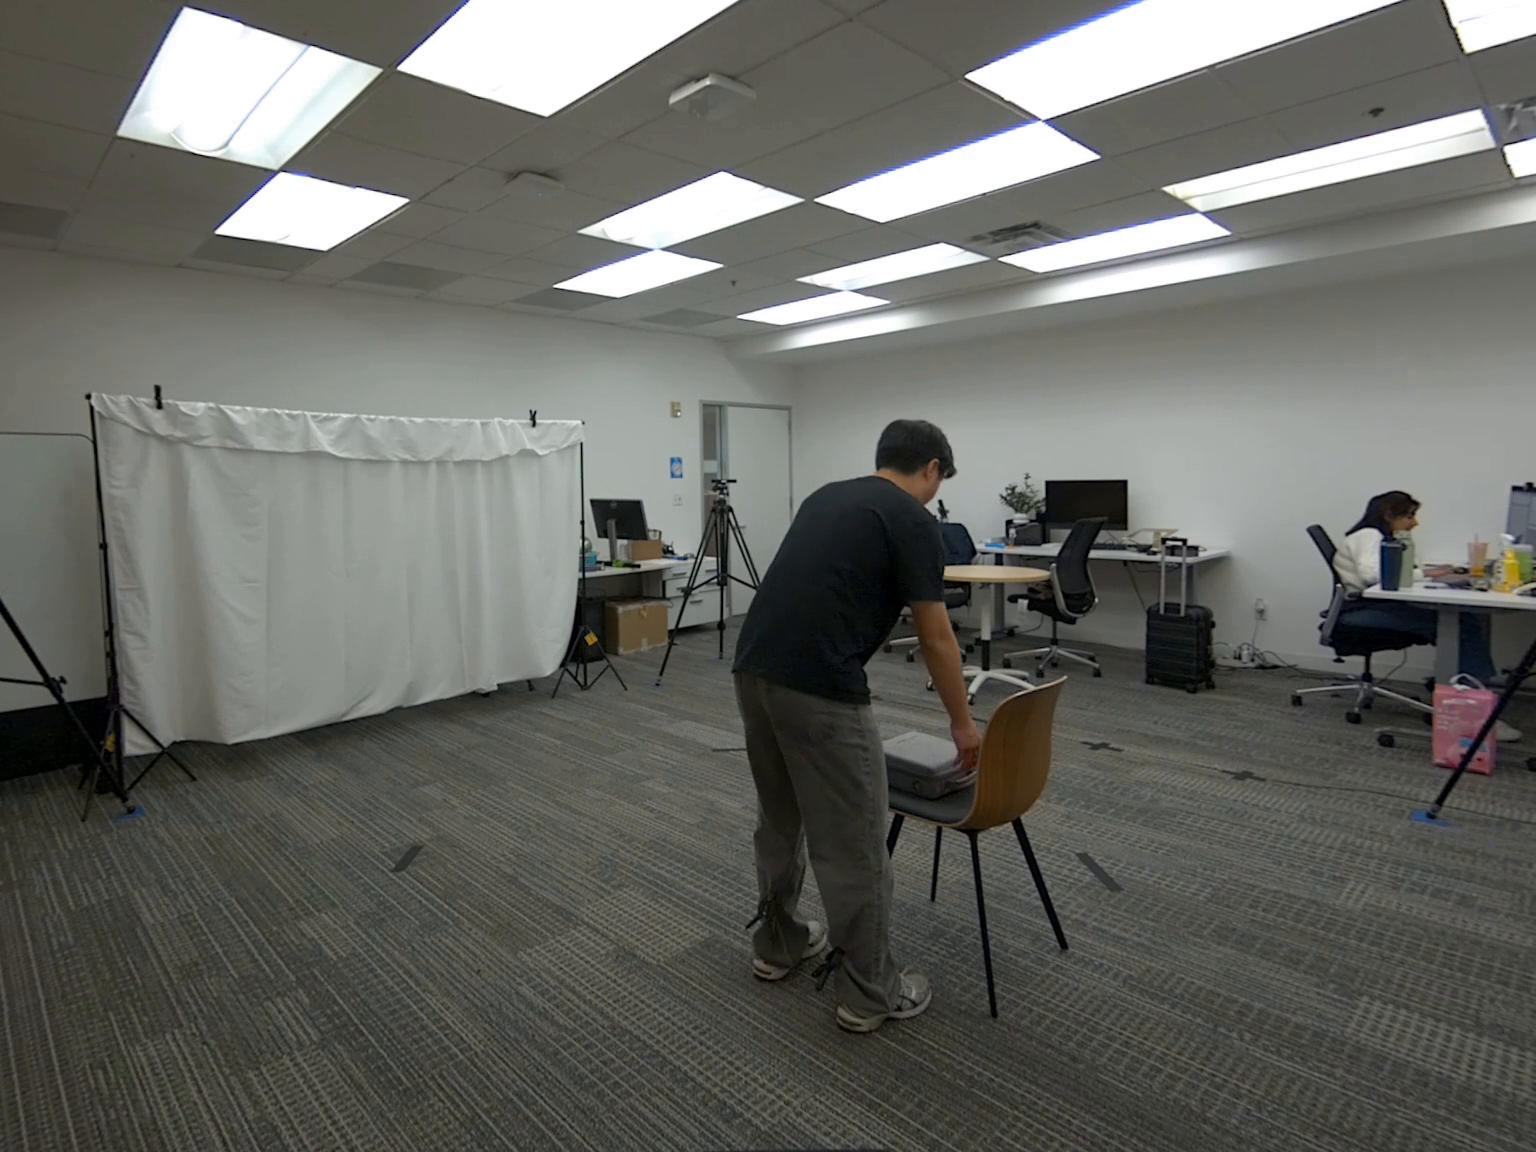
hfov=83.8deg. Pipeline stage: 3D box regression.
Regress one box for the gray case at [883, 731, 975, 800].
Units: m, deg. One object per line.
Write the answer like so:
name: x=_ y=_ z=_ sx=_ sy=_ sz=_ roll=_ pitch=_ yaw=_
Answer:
gray case: x=0.474 y=0.562 z=2.557 sx=0.256 sy=0.102 sz=0.296 roll=-7 pitch=10 yaw=-43
